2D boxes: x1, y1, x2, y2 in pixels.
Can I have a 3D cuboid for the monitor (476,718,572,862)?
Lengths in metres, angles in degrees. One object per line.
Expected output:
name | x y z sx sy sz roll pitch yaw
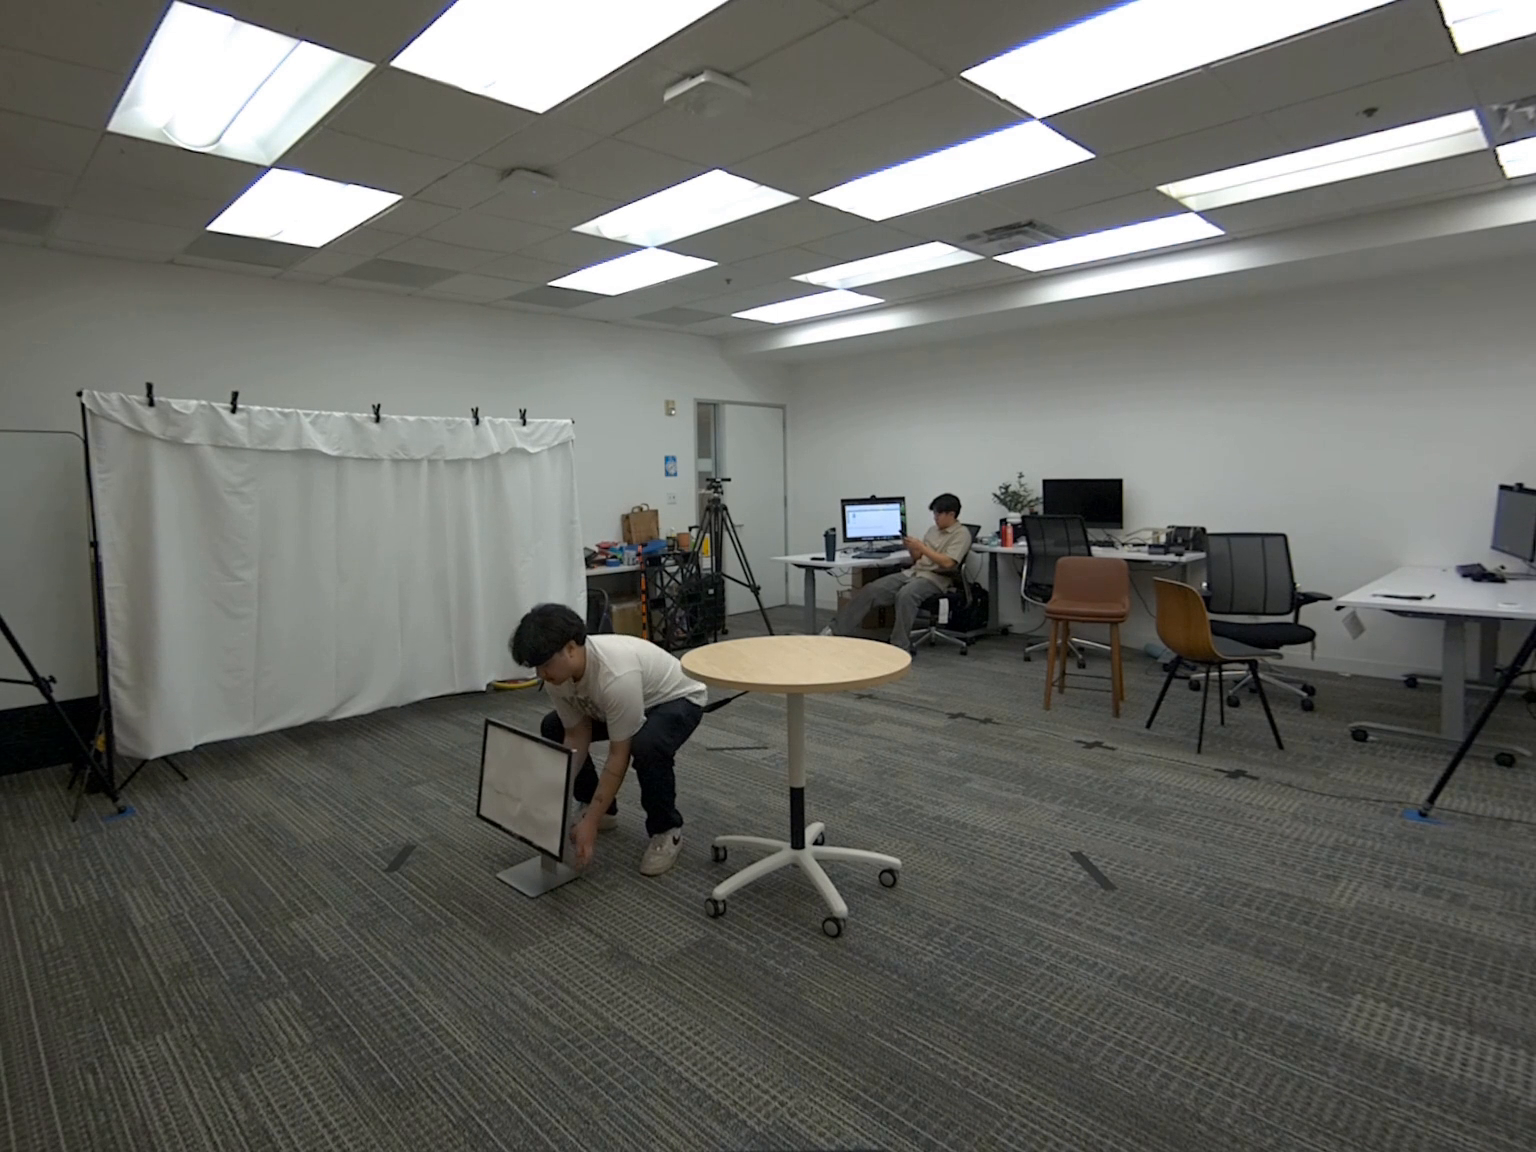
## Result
monitor | -0.802 0.813 3.019 0.583 0.553 0.204 4 3 45
